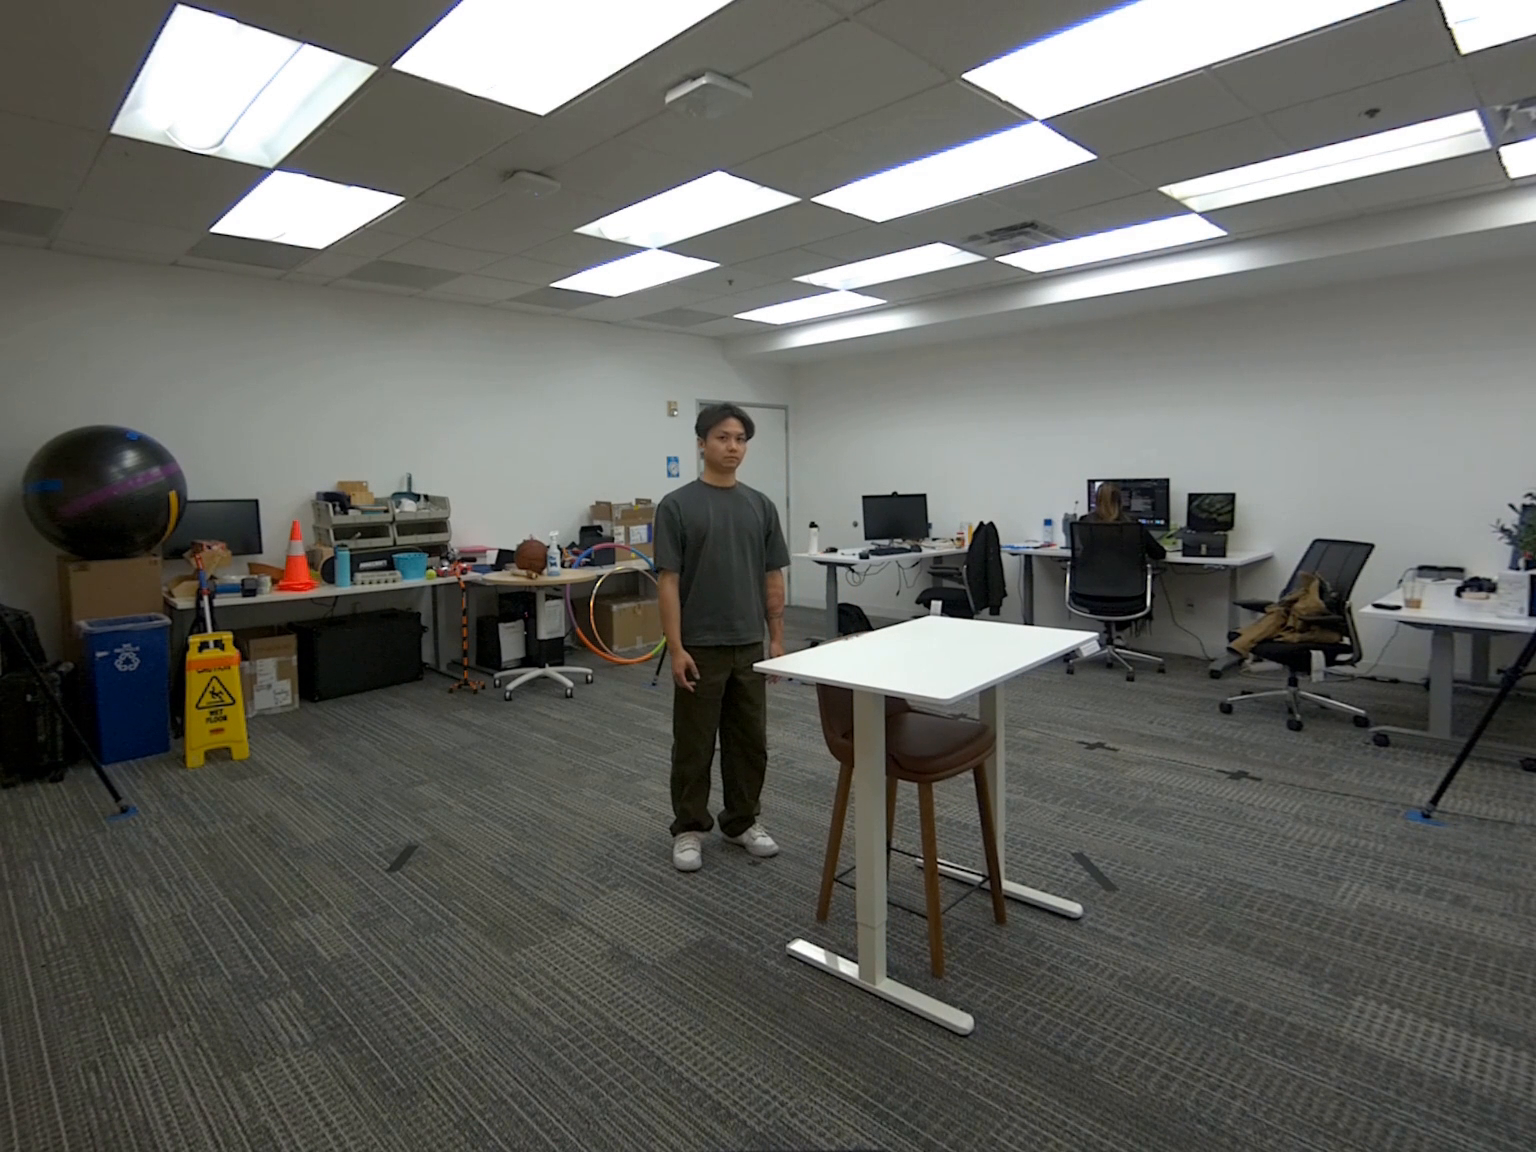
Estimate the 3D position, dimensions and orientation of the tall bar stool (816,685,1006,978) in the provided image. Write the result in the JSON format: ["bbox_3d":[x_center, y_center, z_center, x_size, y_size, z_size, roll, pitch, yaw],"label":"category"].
[{"bbox_3d":[0.434,0.654,2.652,0.481,0.887,0.444,1,4,43],"label":"tall bar stool"}]
